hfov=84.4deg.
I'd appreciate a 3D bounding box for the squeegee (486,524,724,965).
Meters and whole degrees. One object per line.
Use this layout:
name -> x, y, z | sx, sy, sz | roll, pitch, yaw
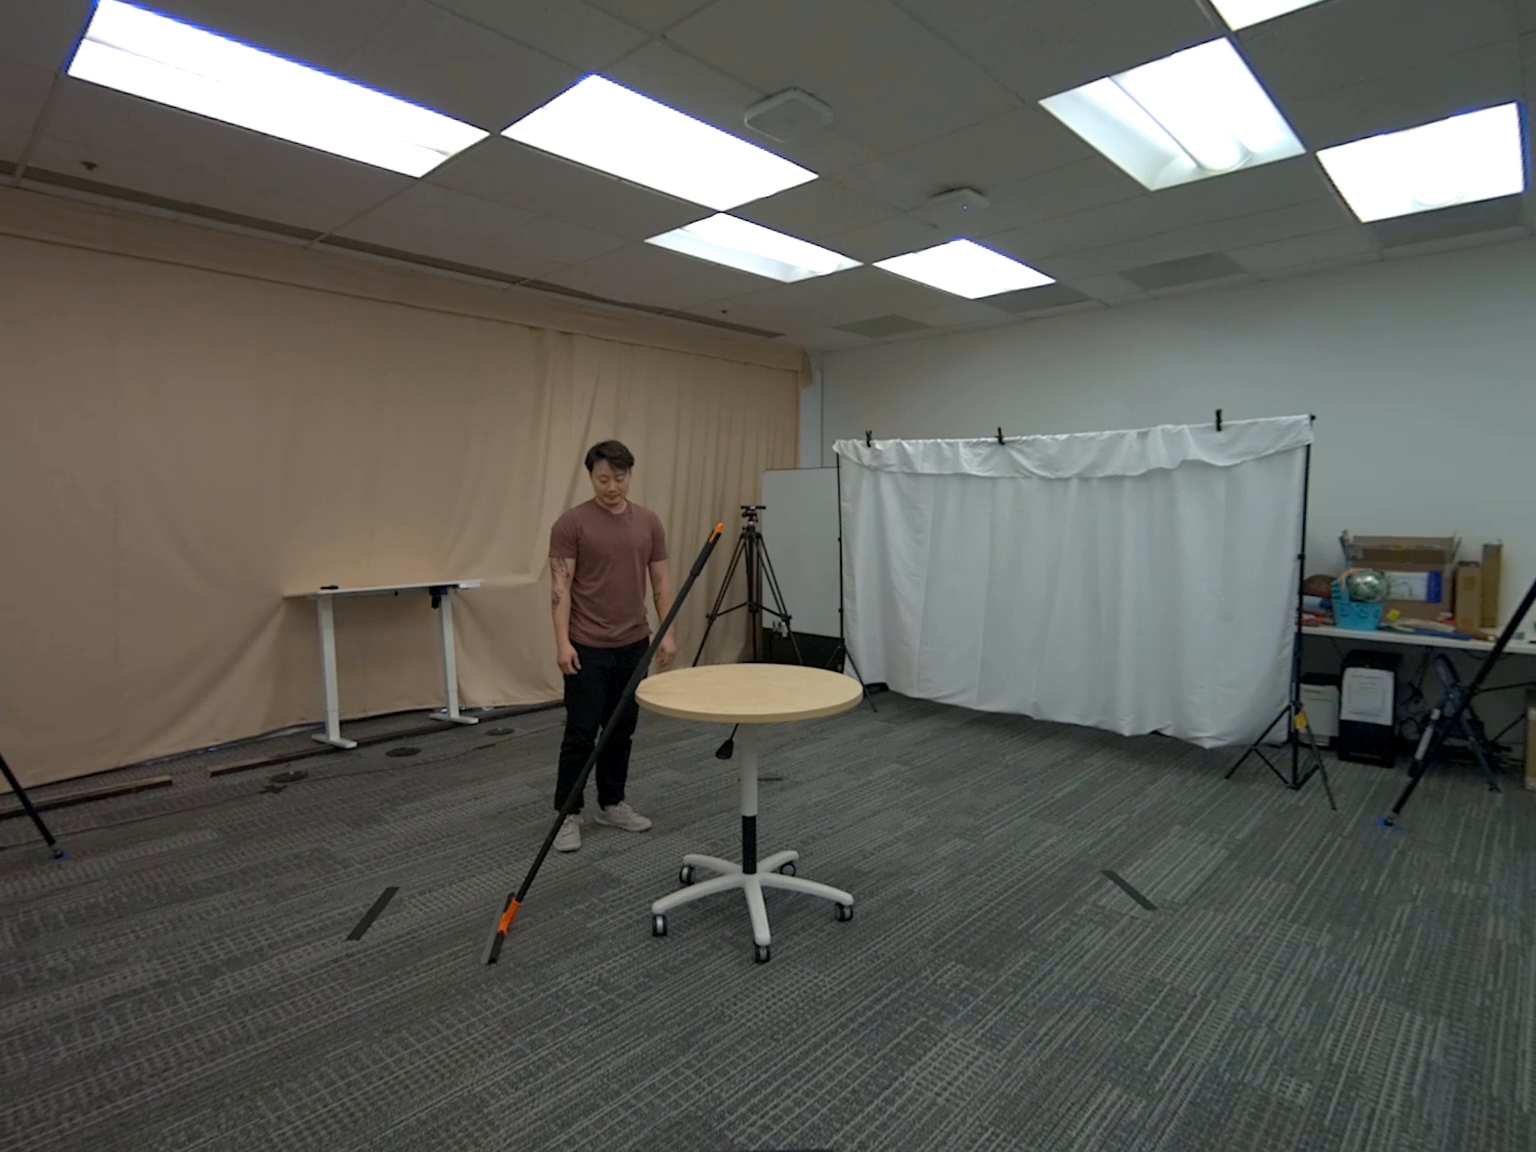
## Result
squeegee -> -0.523, 0.501, 2.776 | 0.052, 1.537, 0.441 | 29, 1, -8
